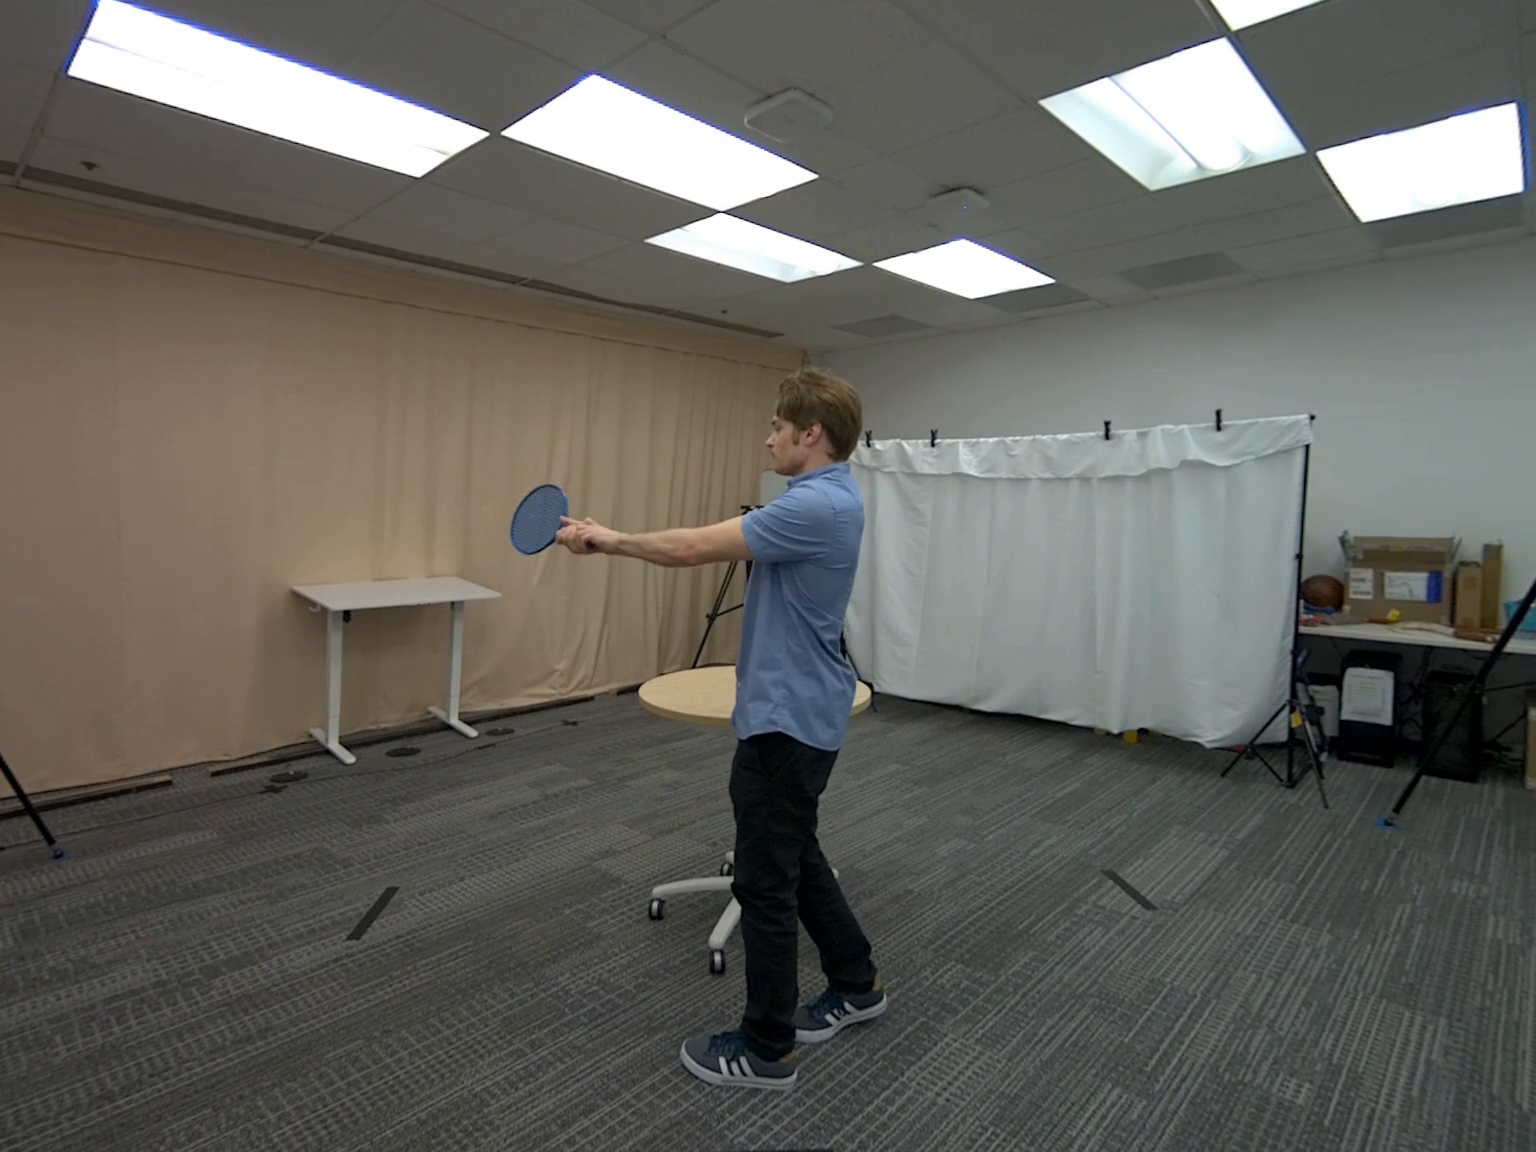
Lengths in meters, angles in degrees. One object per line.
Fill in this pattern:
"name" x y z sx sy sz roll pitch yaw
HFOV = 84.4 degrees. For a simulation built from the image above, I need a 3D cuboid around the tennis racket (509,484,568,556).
"tennis racket" -0.591 -0.146 2.311 0.449 0.214 0.030 18 -6 46
